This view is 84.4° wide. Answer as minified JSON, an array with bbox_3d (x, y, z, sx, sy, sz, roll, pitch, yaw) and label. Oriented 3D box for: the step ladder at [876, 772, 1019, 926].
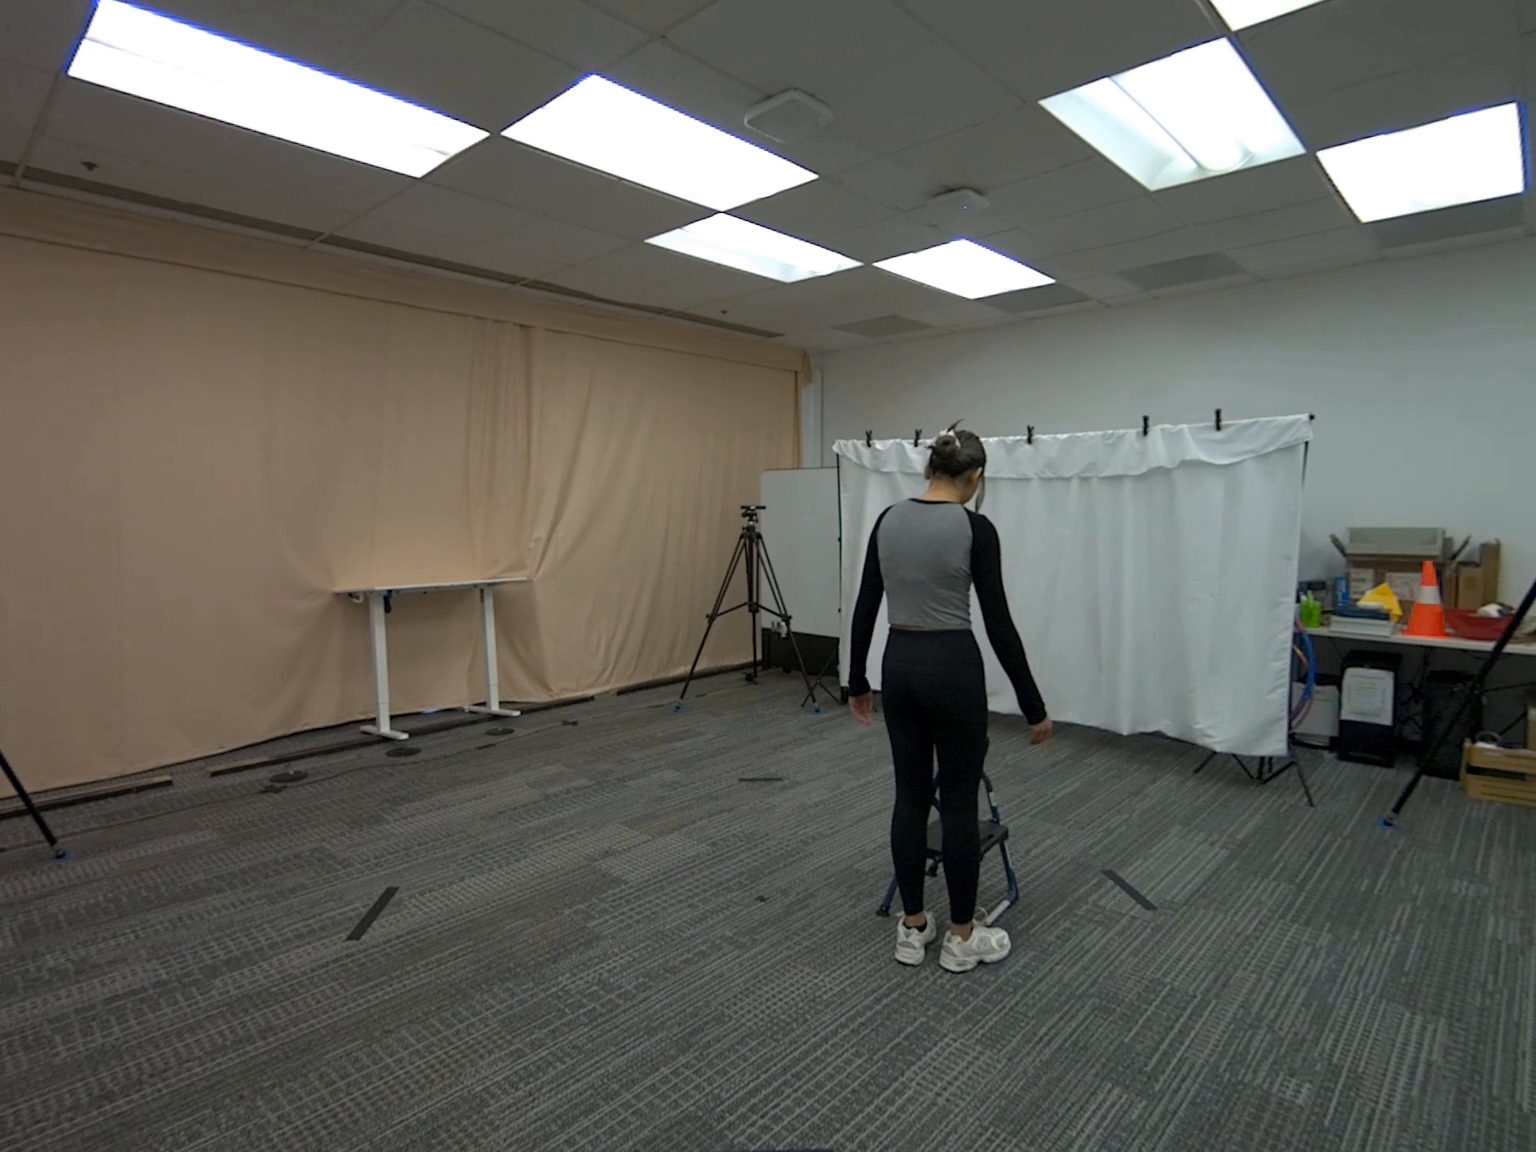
[{"bbox_3d":[0.635,0.847,2.909,0.360,0.604,0.418,2,5,36],"label":"step ladder"}]
